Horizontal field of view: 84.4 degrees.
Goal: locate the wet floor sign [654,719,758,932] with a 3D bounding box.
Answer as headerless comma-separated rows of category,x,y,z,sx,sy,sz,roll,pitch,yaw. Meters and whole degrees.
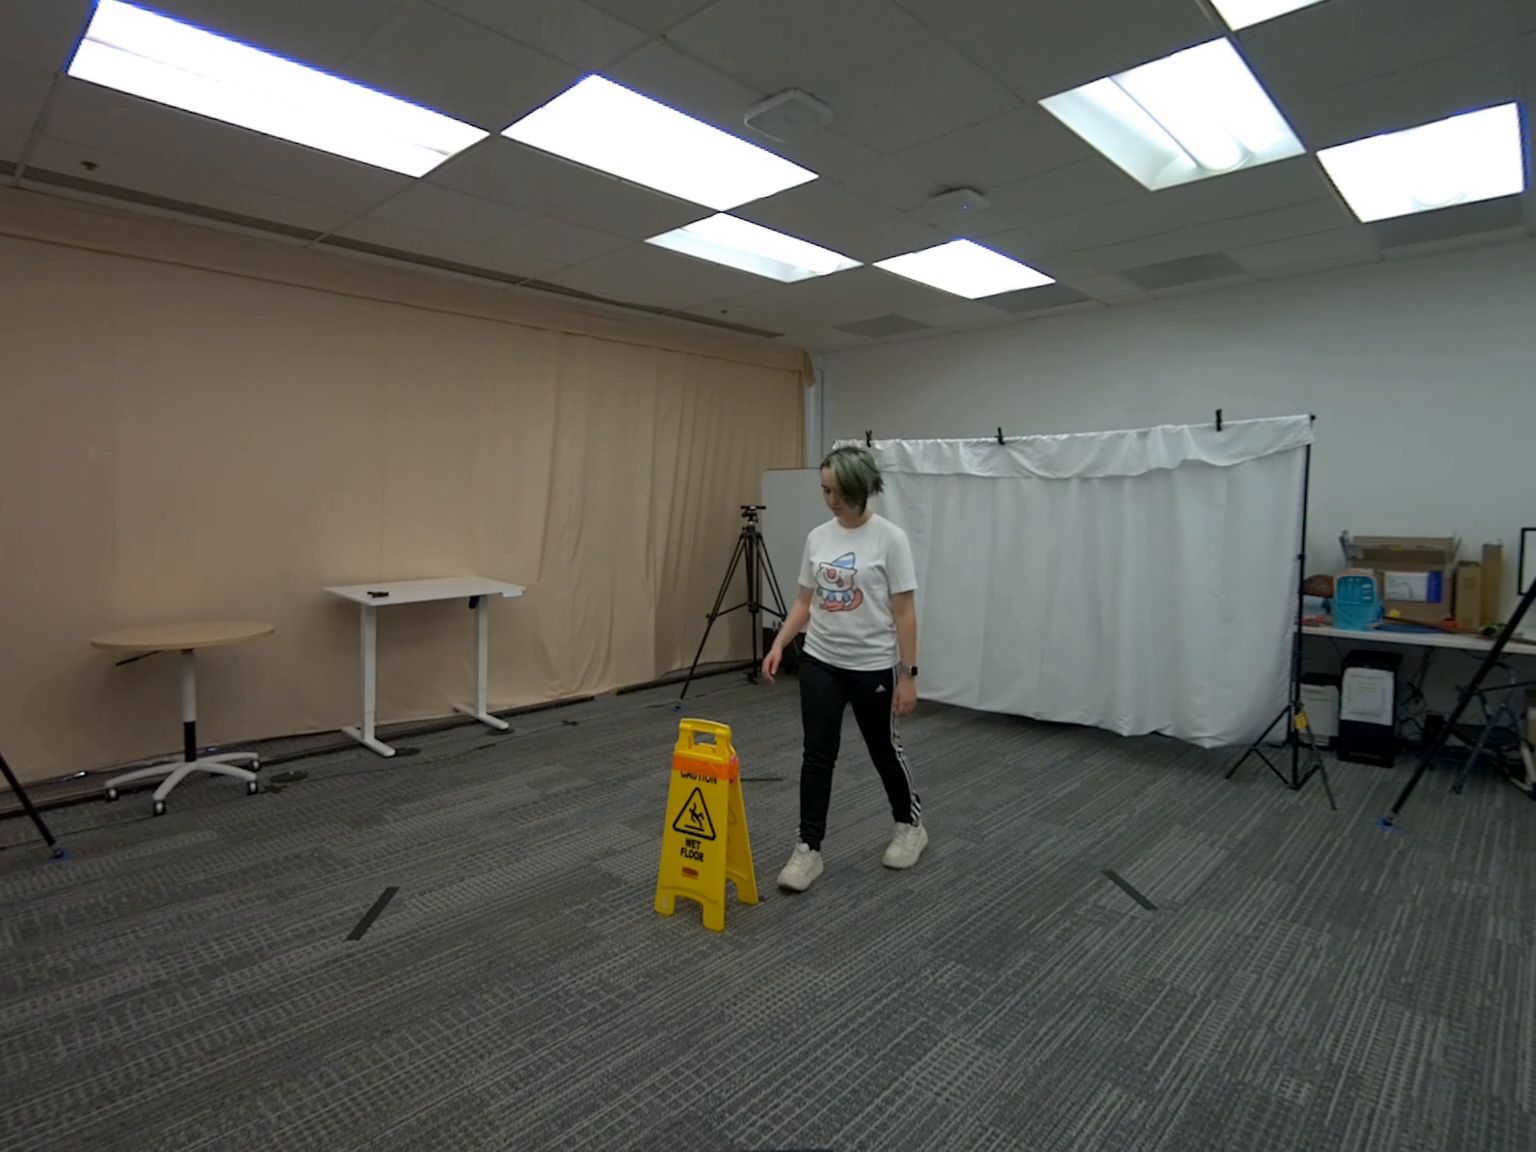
wet floor sign,-0.213,0.825,2.899,0.290,0.644,0.282,1,4,31
